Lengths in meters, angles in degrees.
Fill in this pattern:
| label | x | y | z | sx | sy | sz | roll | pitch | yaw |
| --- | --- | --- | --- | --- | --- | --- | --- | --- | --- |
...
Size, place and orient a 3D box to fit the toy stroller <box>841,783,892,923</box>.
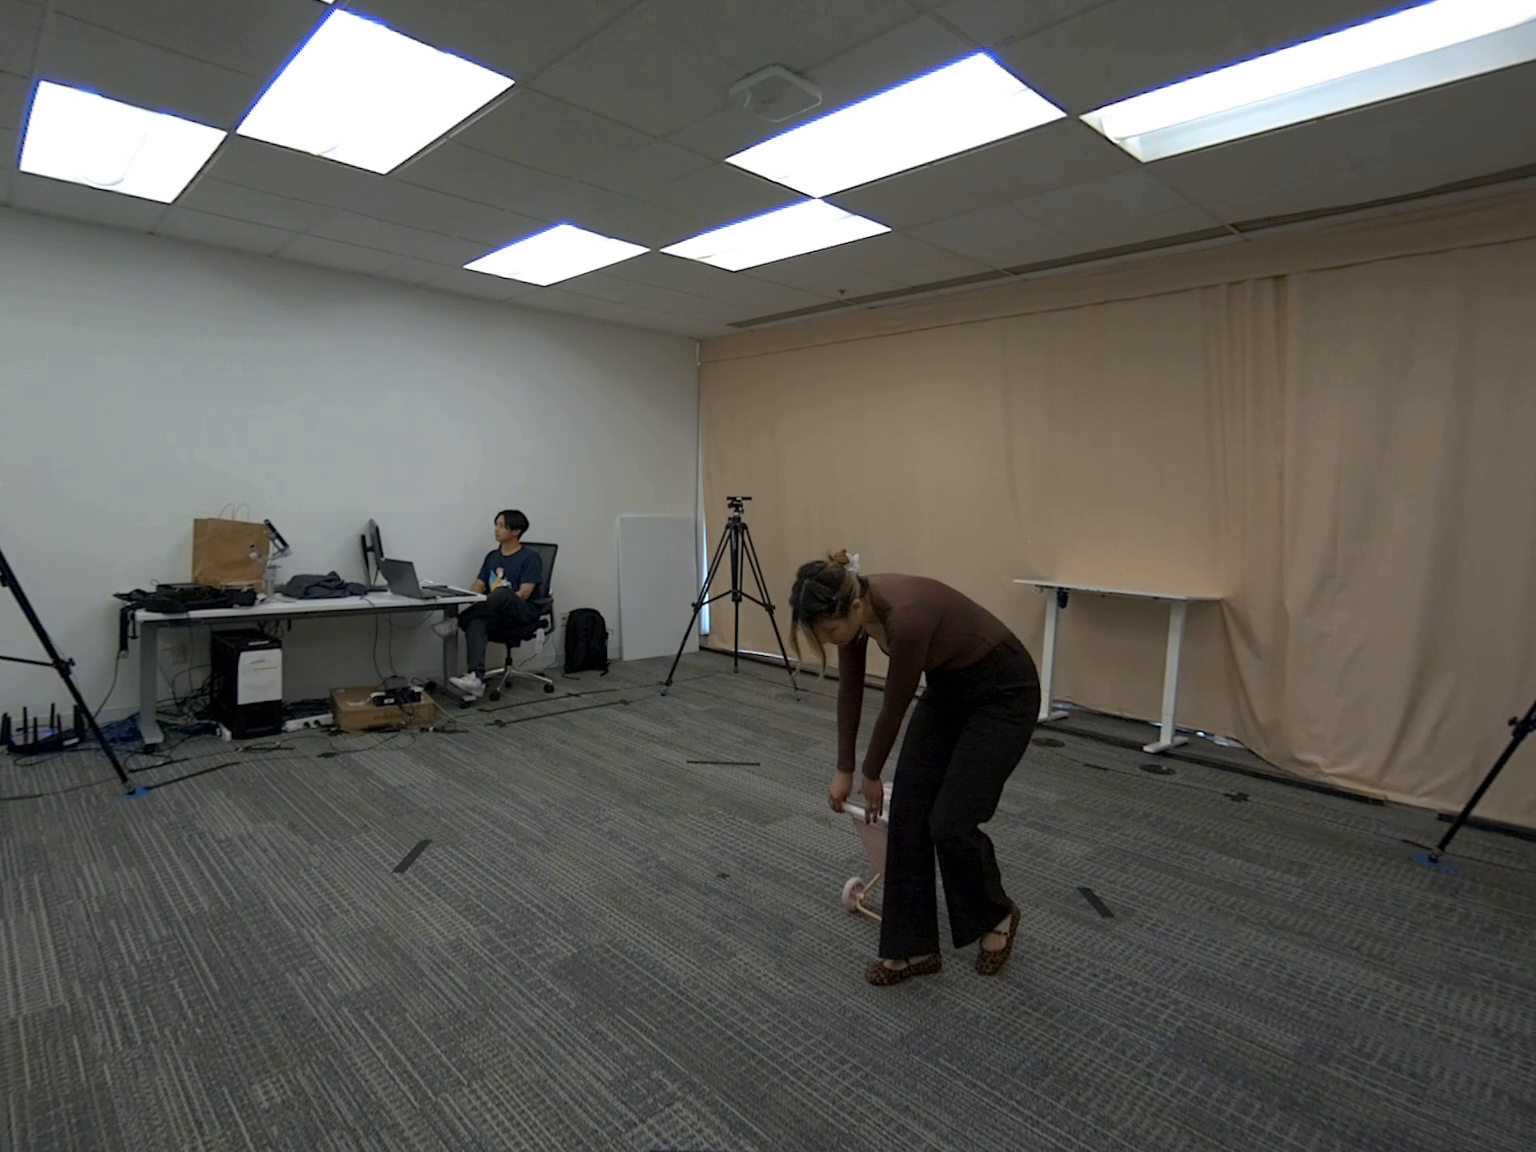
| label | x | y | z | sx | sy | sz | roll | pitch | yaw |
| --- | --- | --- | --- | --- | --- | --- | --- | --- | --- |
| toy stroller | 0.424 | 0.922 | 2.802 | 0.337 | 0.528 | 0.289 | -22 | 18 | -37 |
